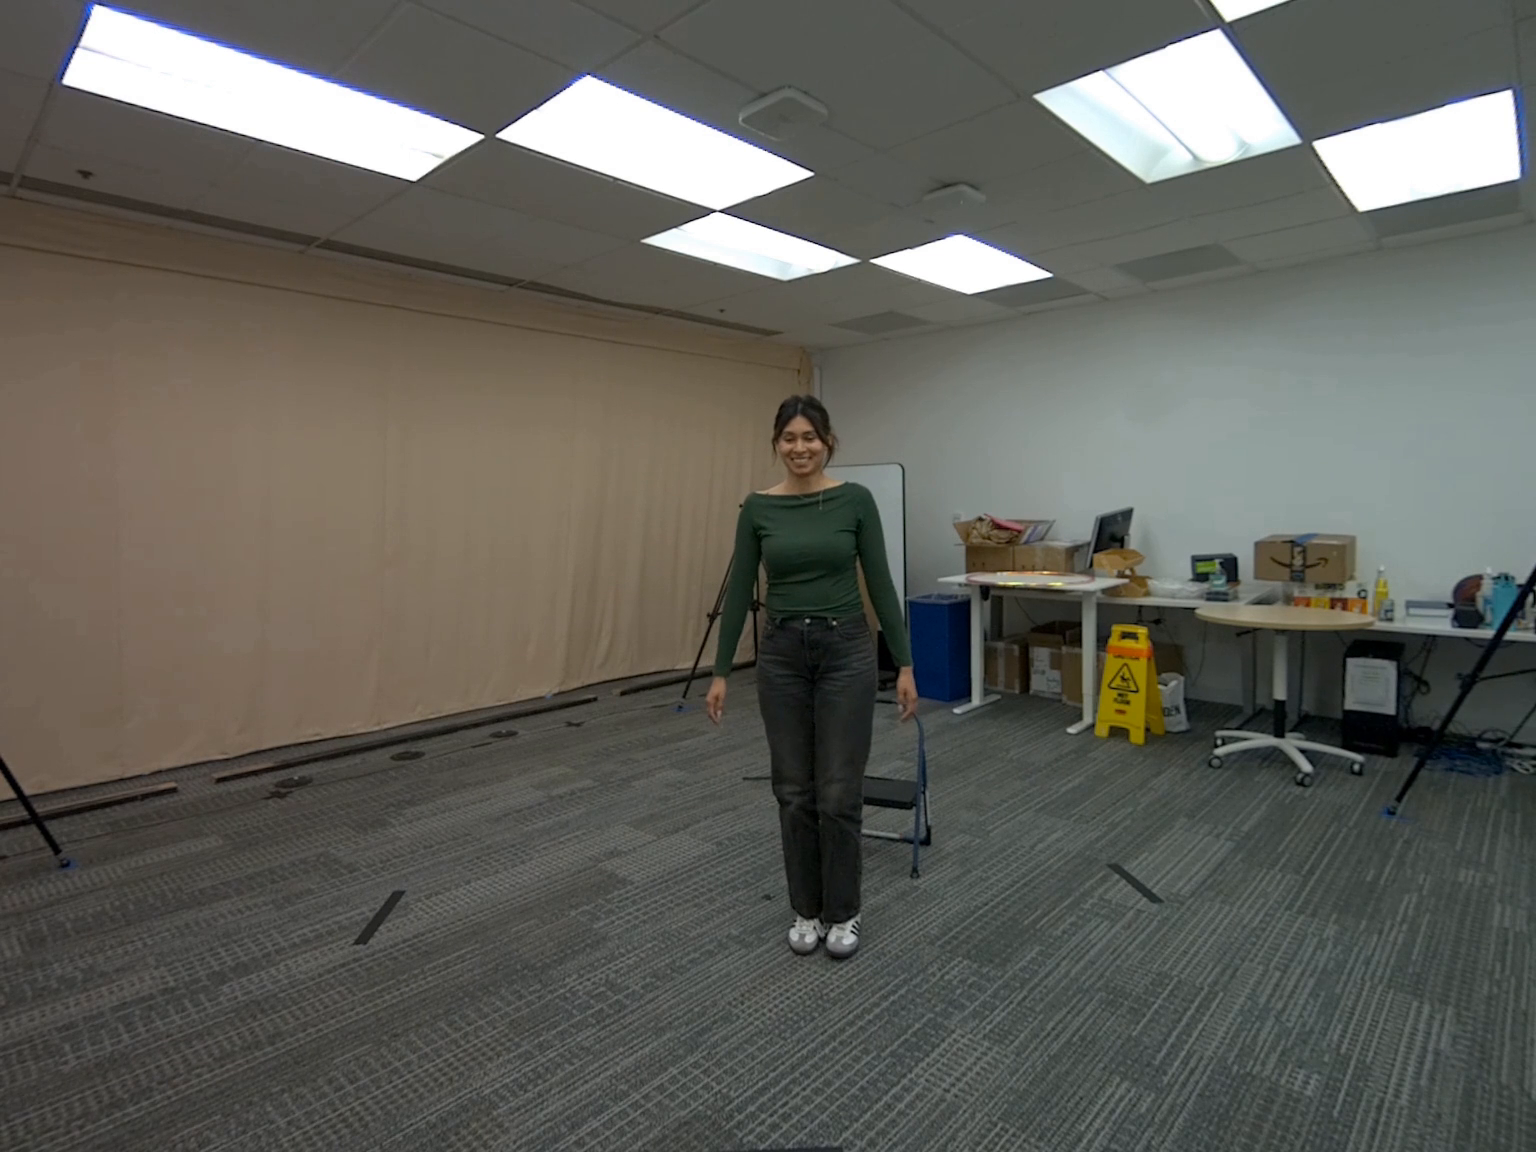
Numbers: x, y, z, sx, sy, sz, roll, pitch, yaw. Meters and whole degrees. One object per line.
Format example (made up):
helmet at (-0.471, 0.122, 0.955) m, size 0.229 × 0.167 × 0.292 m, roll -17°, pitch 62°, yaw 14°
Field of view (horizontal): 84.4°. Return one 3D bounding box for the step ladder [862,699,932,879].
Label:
step ladder at (0.420, 0.797, 3.342) m, size 0.440 × 0.605 × 0.342 m, roll 1°, pitch 3°, yaw 22°
